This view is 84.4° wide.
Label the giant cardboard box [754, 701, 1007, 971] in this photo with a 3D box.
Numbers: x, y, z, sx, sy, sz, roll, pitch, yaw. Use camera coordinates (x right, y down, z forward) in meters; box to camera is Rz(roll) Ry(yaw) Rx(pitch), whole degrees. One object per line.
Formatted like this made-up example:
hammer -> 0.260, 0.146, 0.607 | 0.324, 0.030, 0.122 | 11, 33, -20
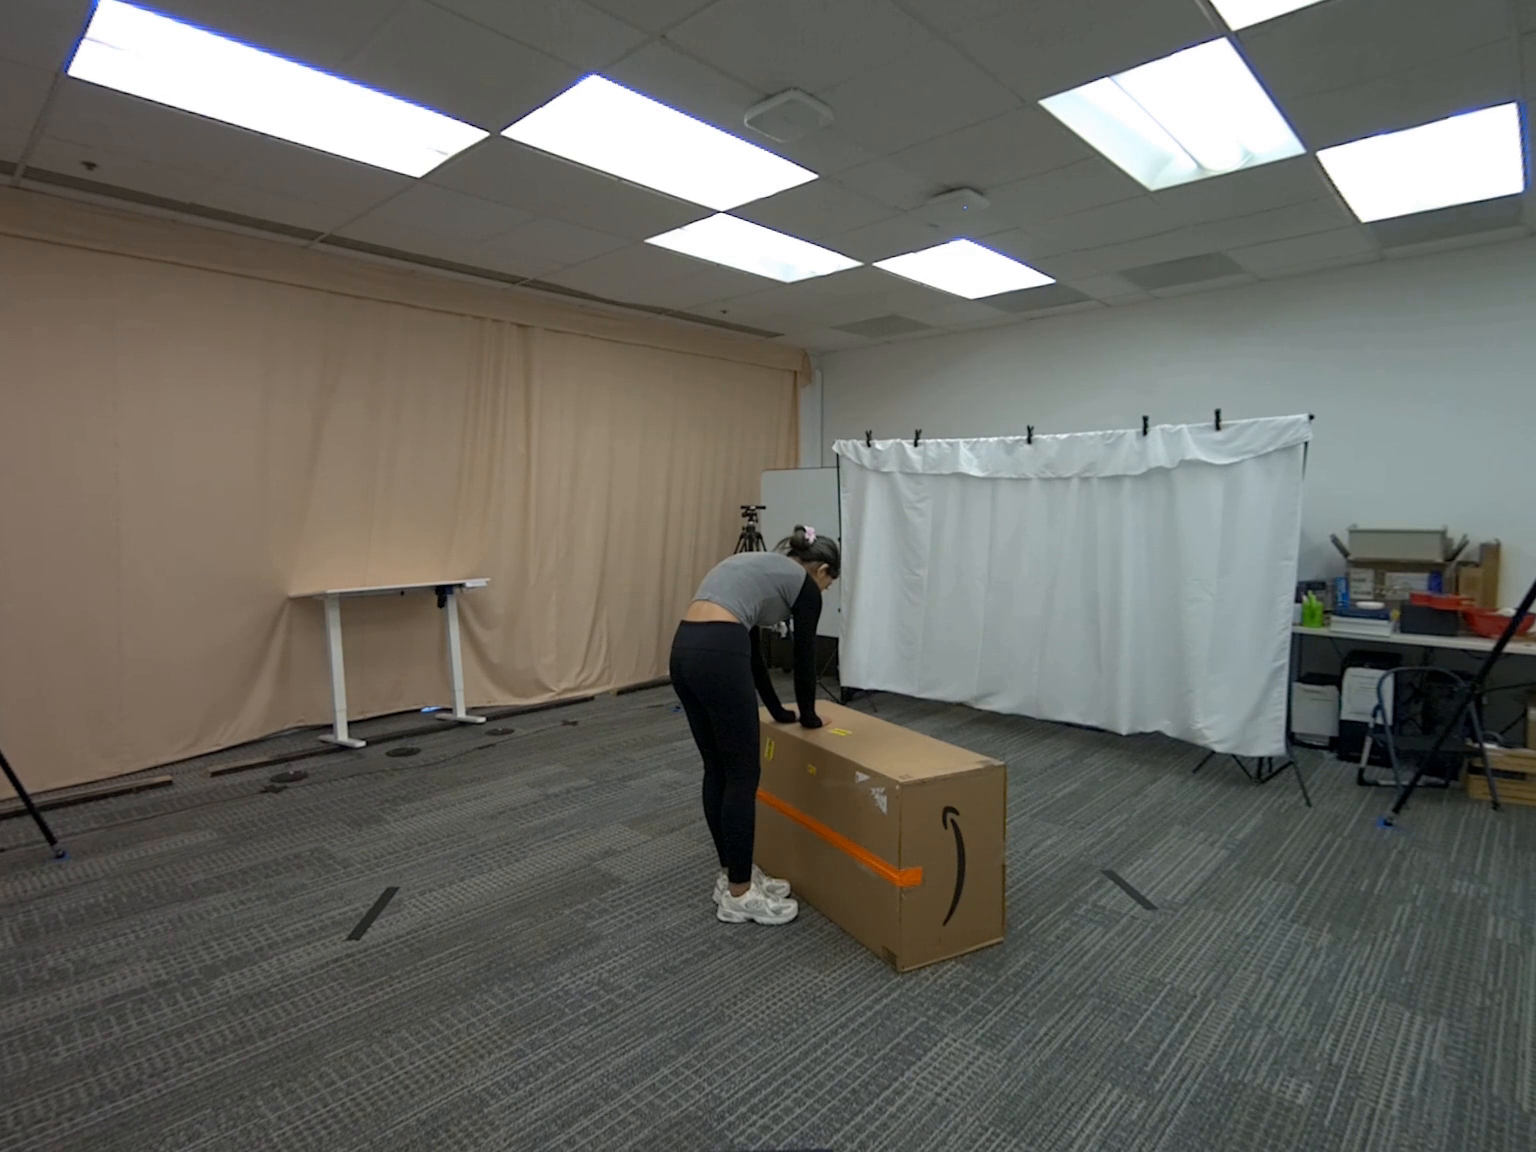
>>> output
giant cardboard box -> 0.320, 0.851, 3.034 | 0.415, 0.576, 1.055 | -2, 4, -29
